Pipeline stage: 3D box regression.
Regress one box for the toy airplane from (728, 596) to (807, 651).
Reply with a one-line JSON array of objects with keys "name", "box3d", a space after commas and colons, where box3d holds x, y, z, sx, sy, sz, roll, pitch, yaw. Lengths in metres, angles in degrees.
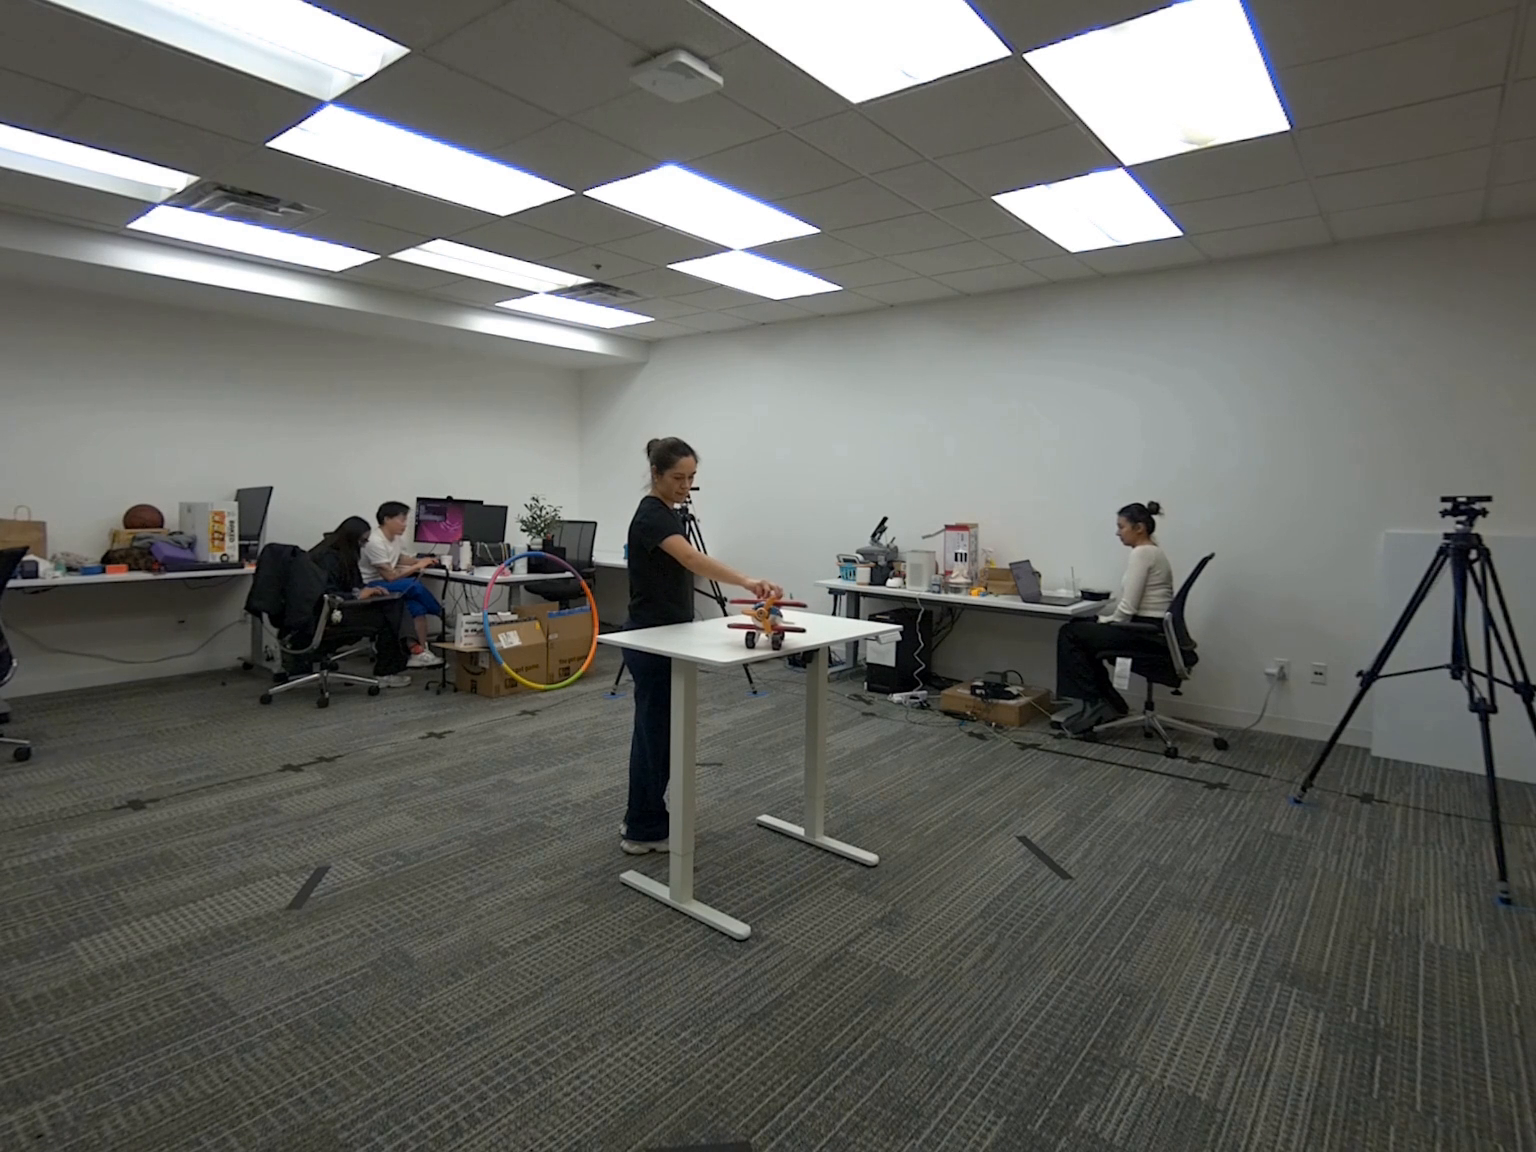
[{"name": "toy airplane", "box3d": [-0.007, 0.141, 2.790, 0.248, 0.156, 0.263, 0, 4, -12]}]
